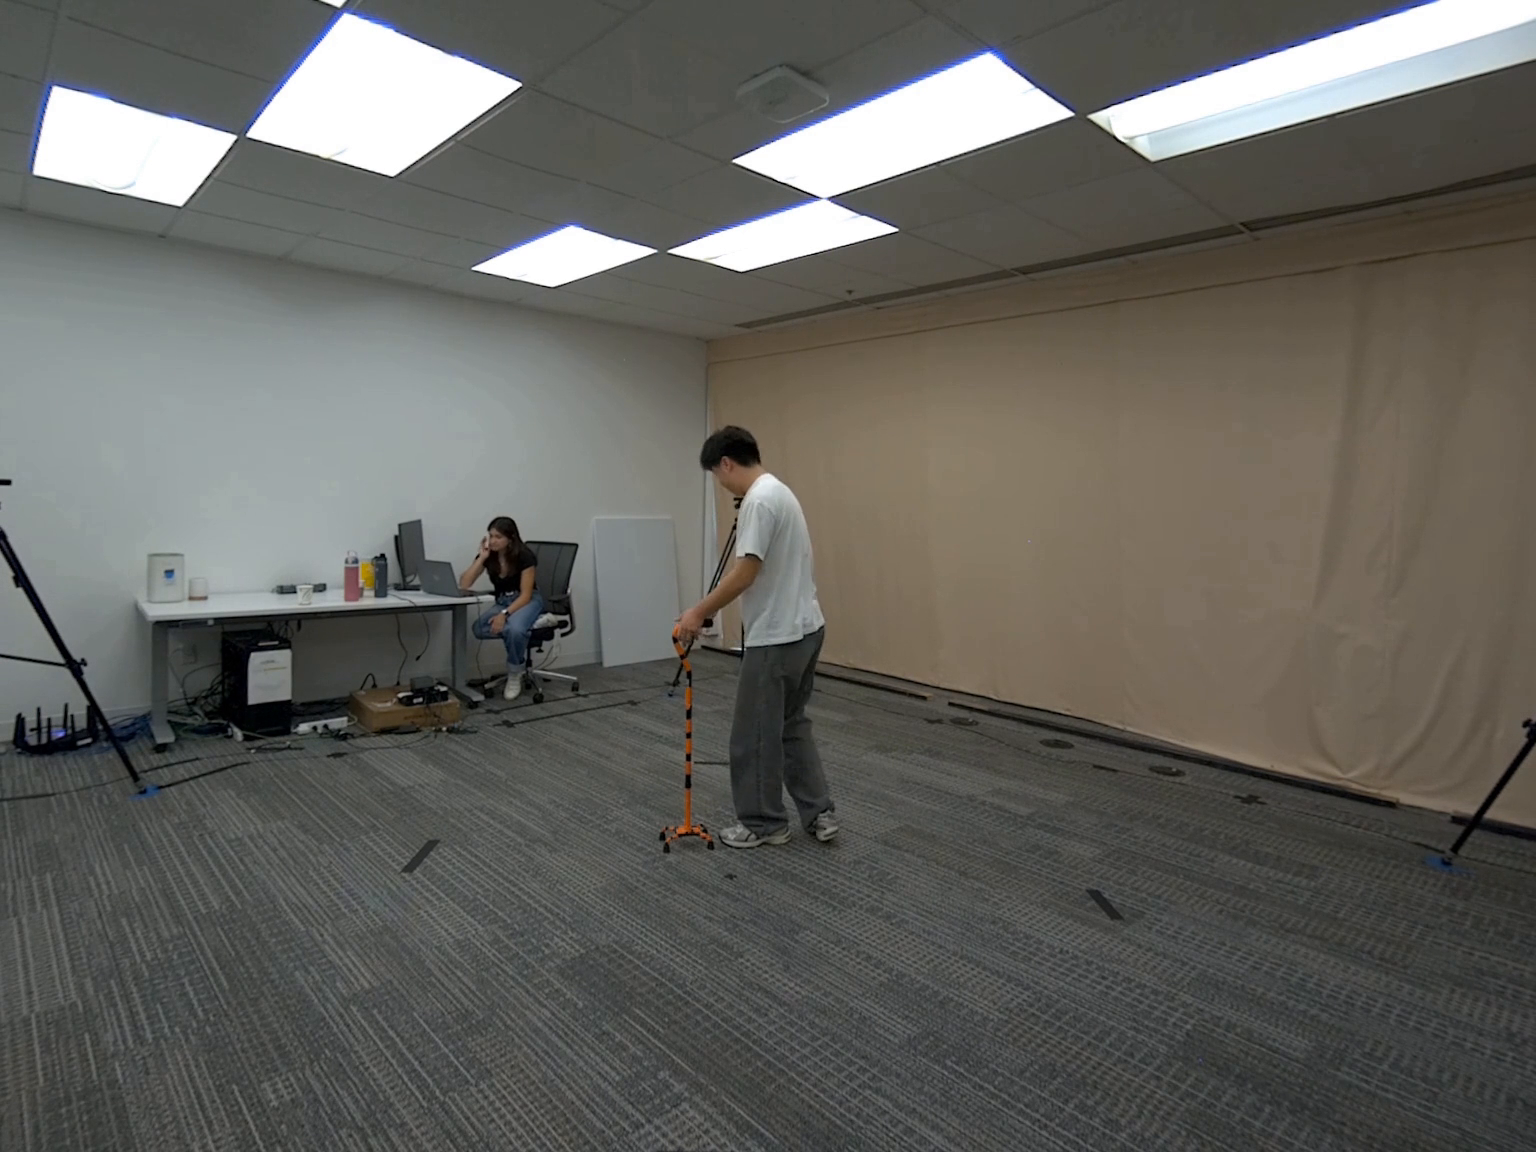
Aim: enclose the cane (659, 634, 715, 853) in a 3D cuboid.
[{"bbox_3d":[-0.329,0.633,3.360,0.204,0.906,0.154,0,2,-16],"label":"cane"}]
